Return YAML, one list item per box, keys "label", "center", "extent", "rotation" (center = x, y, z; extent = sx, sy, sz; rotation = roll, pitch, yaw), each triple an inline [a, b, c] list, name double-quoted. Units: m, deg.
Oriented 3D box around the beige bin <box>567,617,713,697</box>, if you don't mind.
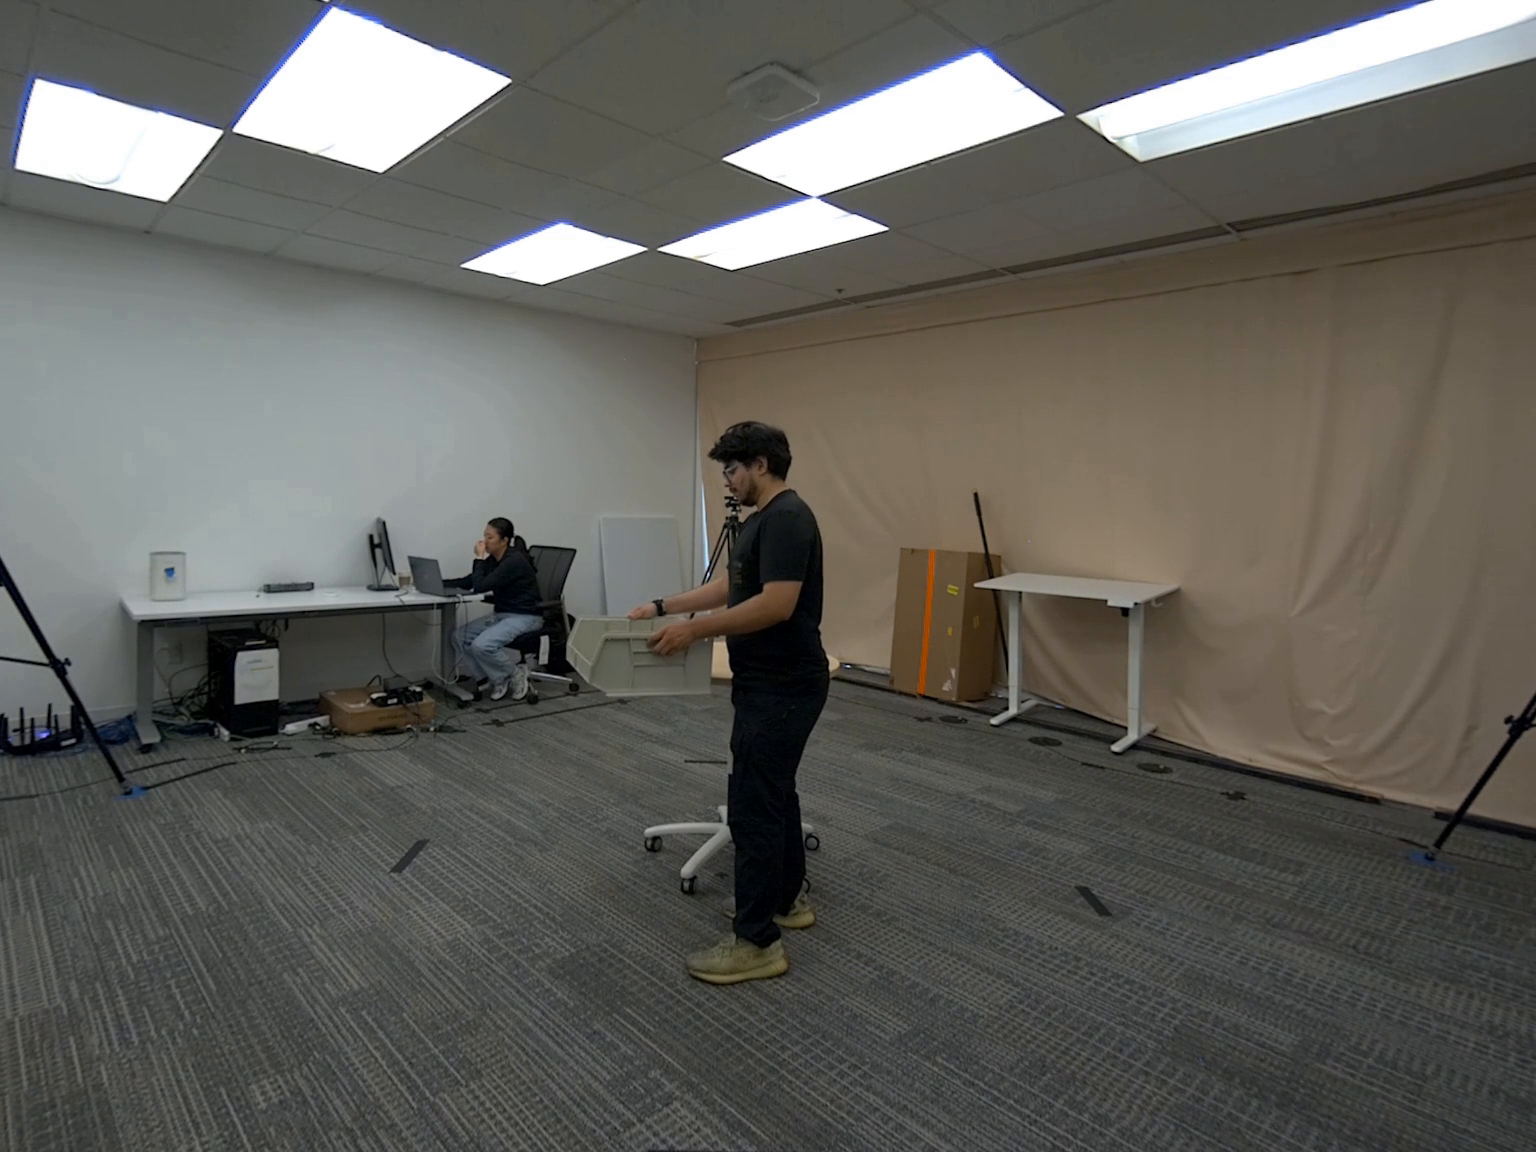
- label: "beige bin"
  center: [-0.404, 0.243, 2.608]
  extent: [0.371, 0.189, 0.430]
  rotation: [3, 3, -22]
